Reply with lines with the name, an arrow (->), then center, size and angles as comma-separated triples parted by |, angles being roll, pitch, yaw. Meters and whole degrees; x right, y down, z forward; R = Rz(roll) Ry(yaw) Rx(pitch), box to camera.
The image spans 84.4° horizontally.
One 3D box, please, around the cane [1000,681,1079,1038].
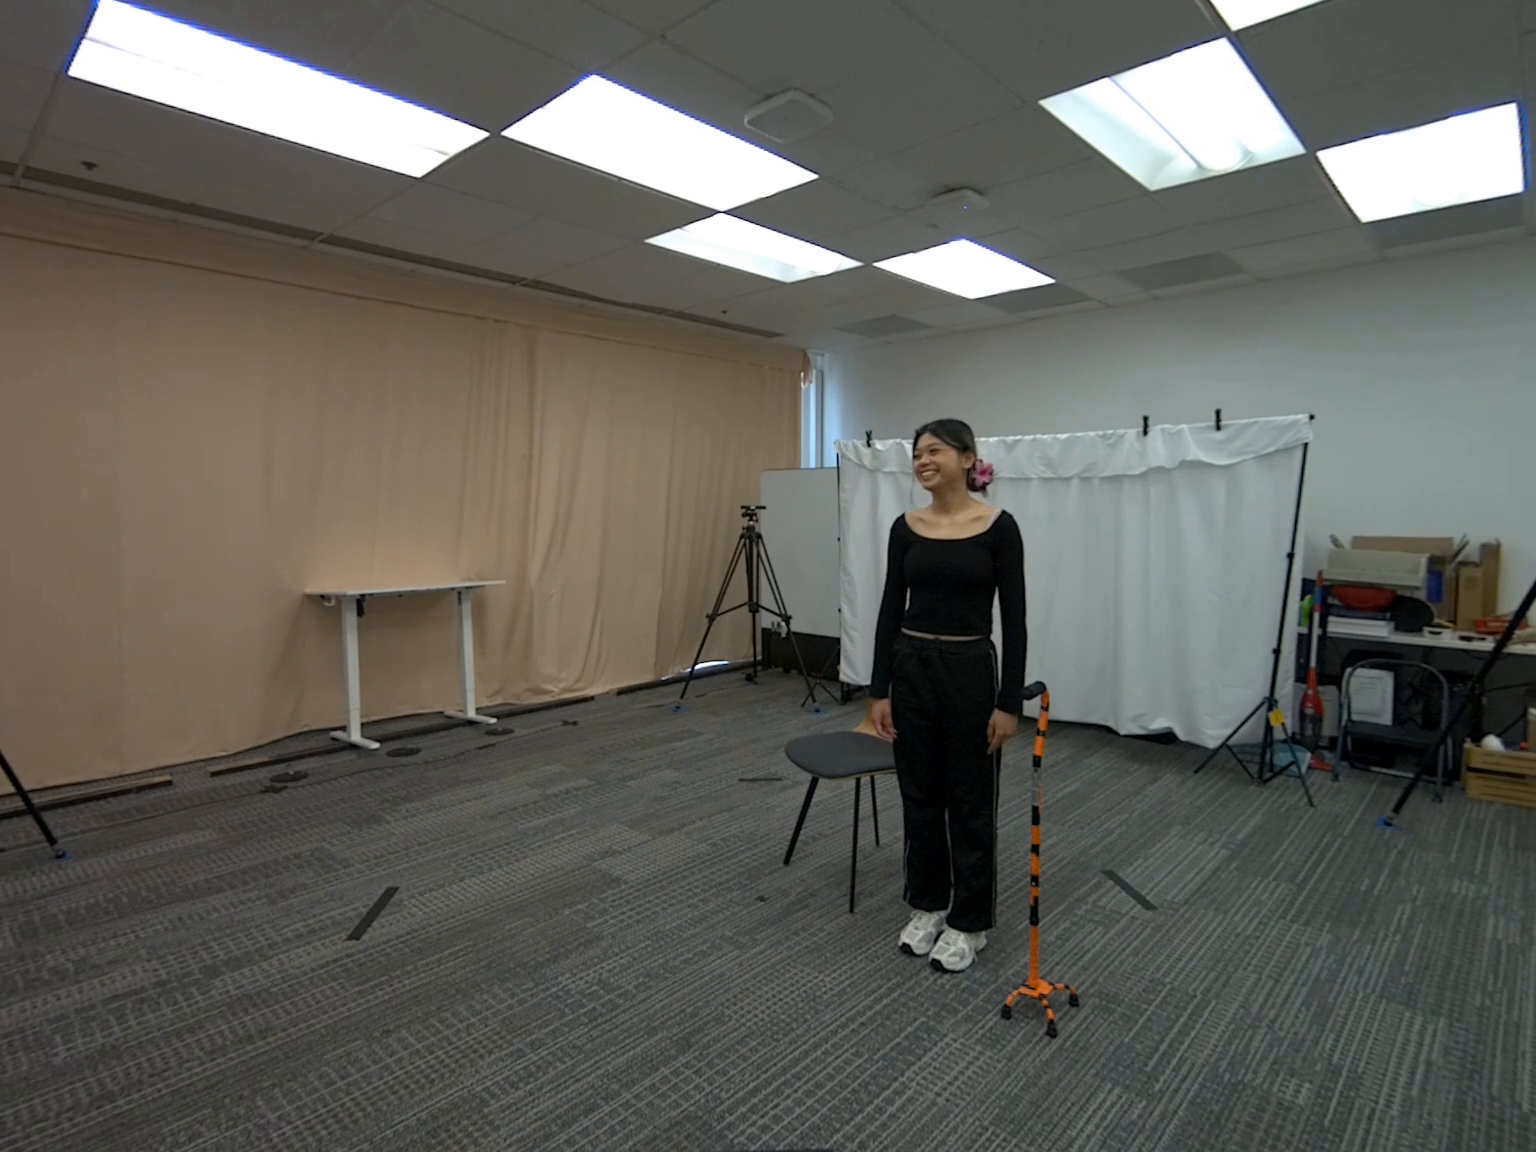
cane -> 0.749, 0.744, 2.301 | 0.156, 0.906, 0.200 | 1, 3, 38
